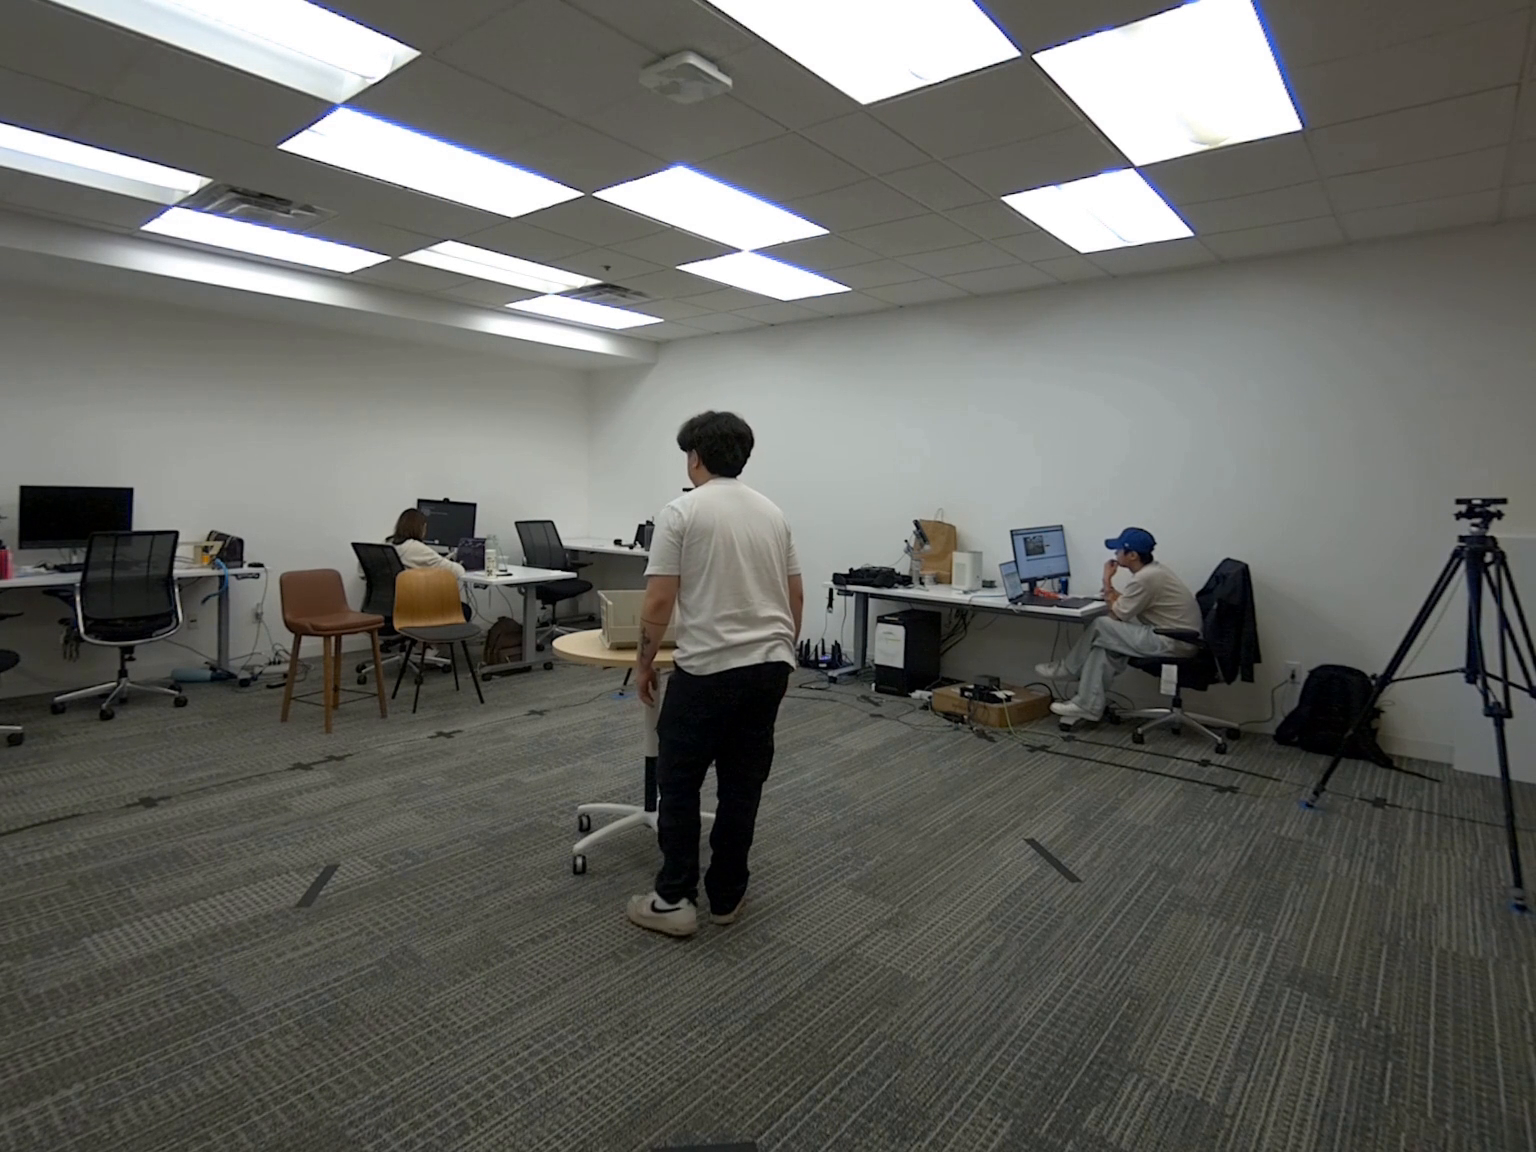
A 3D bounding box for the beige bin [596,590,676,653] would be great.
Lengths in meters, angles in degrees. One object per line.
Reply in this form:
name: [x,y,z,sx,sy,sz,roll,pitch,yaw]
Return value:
beige bin: [-0.435,0.164,3.263,0.416,0.188,0.384,-1,4,-16]
